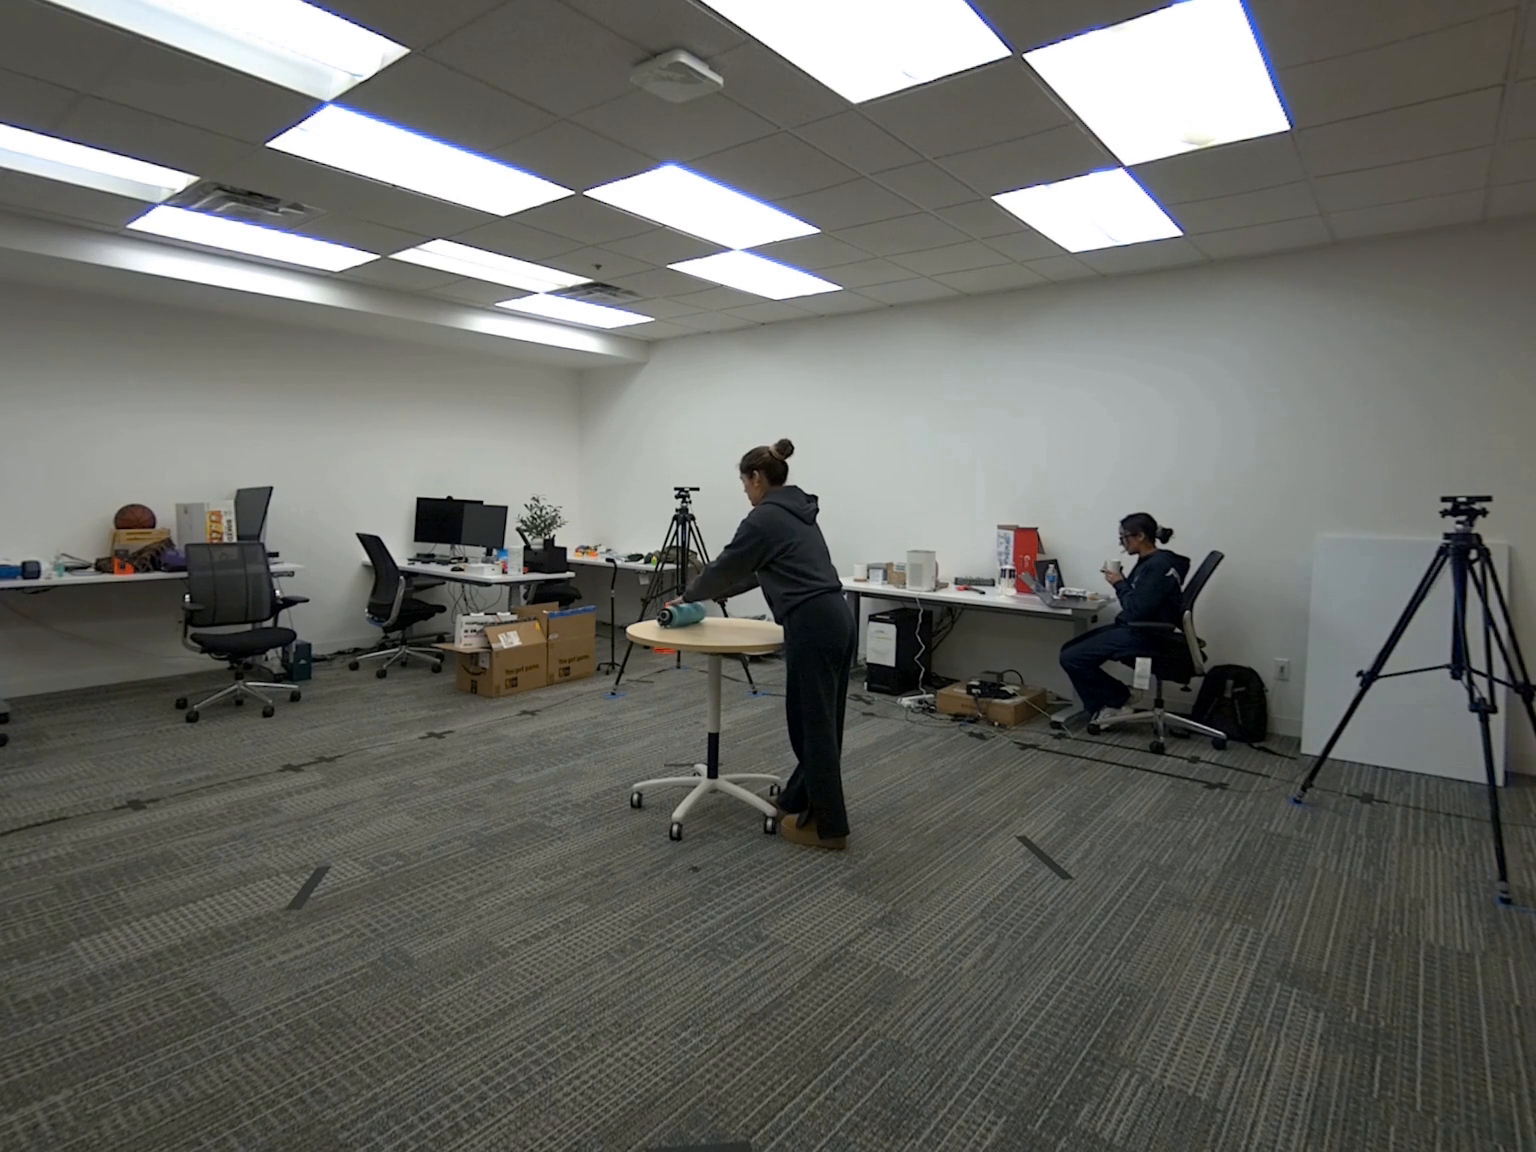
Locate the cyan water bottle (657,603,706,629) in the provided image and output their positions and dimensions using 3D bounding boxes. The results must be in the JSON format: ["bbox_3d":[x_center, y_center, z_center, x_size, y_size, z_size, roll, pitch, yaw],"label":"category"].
[{"bbox_3d":[-0.387,0.171,3.769,0.095,0.092,0.276,3,5,31],"label":"cyan water bottle"}]
